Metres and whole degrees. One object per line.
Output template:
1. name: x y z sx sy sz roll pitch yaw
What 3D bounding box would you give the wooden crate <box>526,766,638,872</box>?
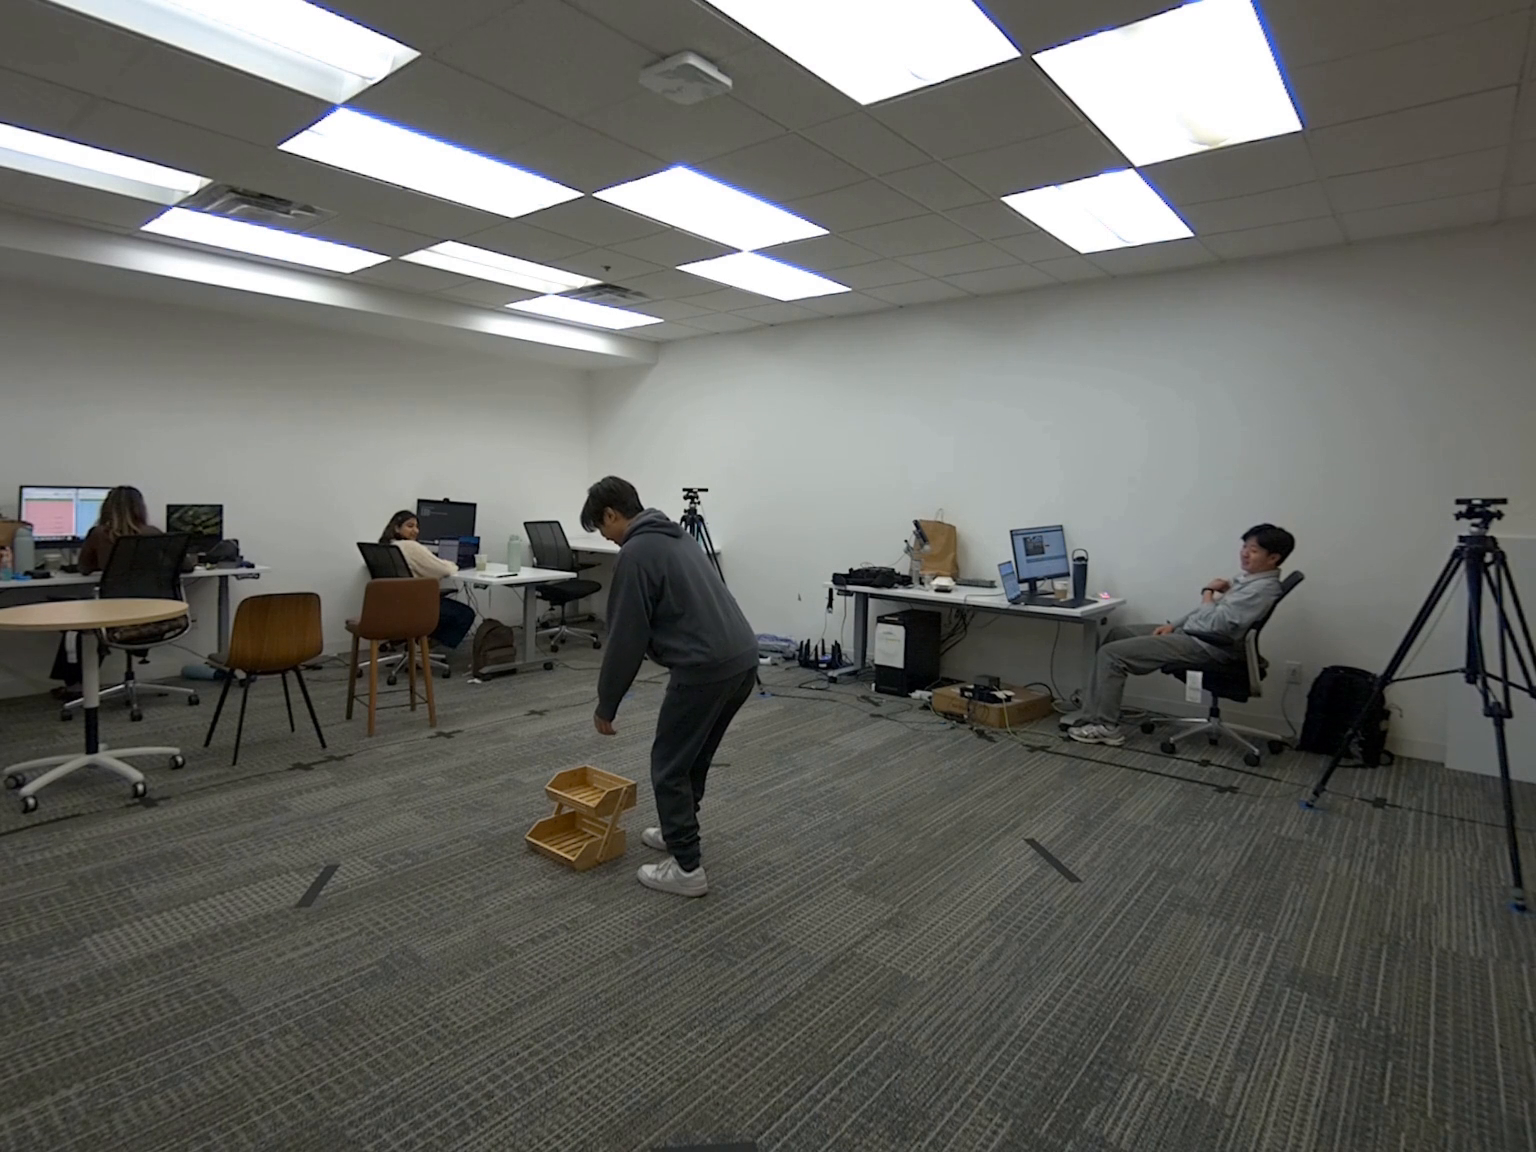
1. wooden crate: -0.731 0.915 3.260 0.335 0.272 0.293 5 5 39
